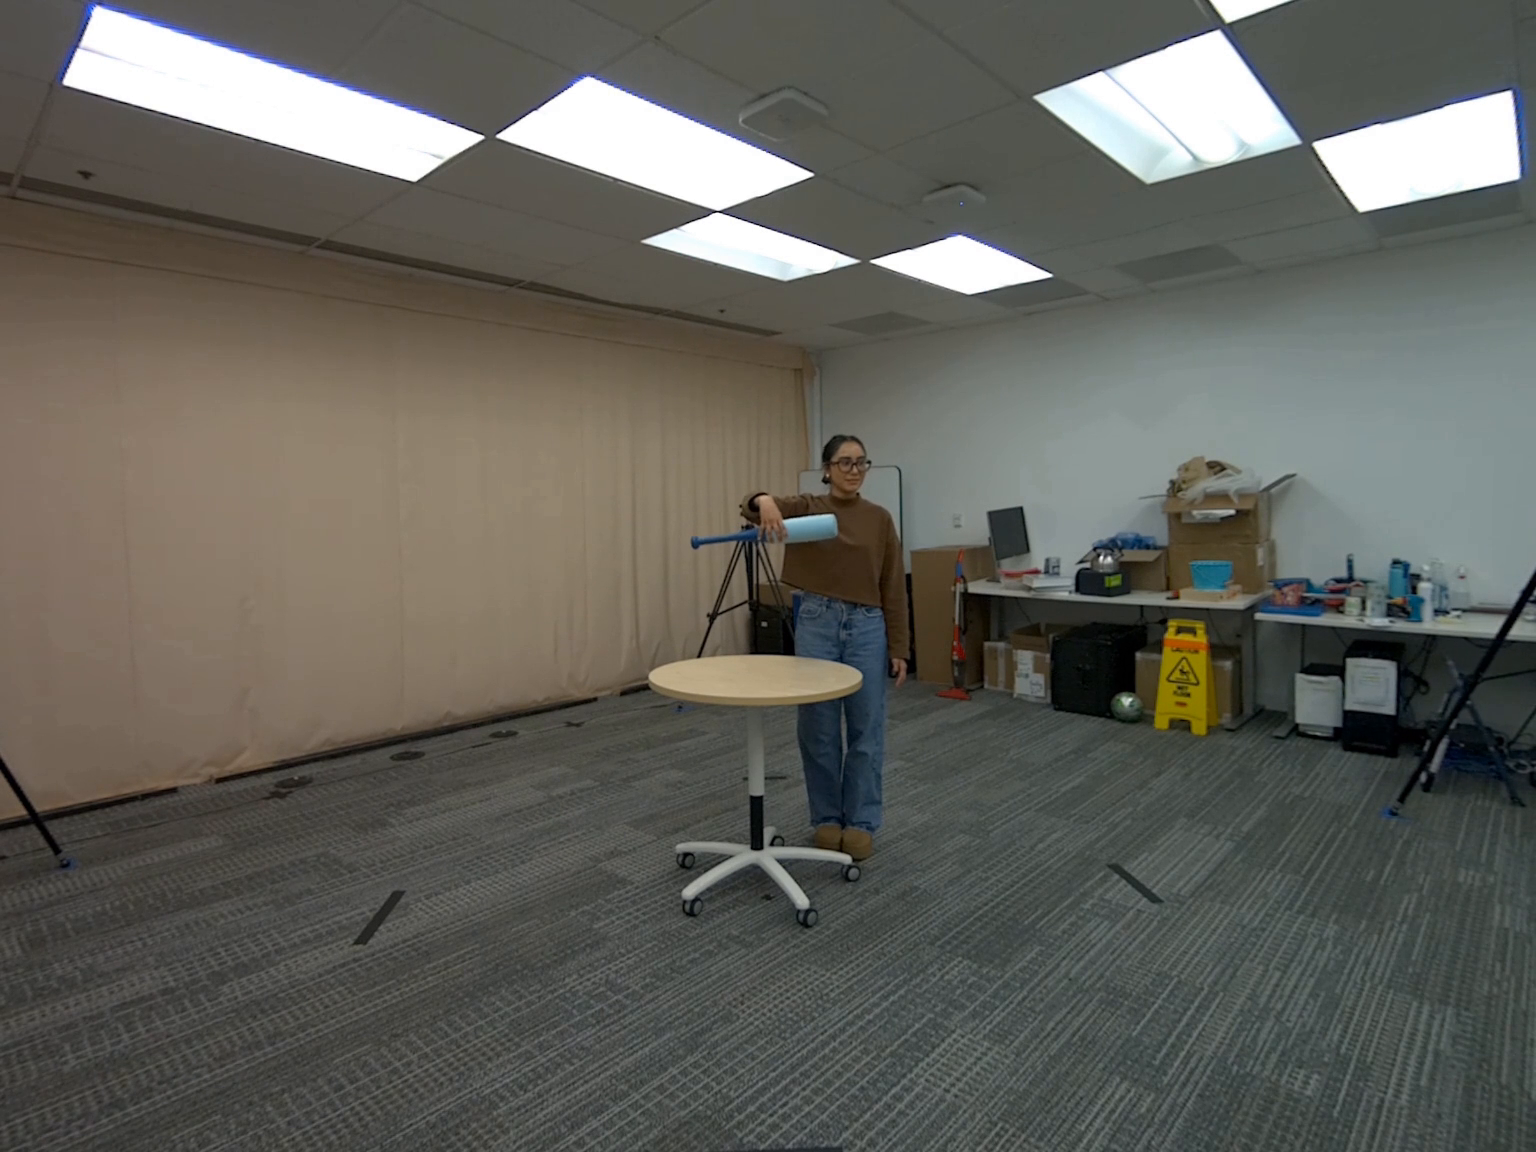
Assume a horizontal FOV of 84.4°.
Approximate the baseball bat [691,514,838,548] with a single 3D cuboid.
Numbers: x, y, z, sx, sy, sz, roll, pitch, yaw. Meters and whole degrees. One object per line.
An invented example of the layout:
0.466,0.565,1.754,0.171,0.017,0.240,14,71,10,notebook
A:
-0.019,-0.148,3.050,0.551,0.089,0.088,-6,2,16,baseball bat
